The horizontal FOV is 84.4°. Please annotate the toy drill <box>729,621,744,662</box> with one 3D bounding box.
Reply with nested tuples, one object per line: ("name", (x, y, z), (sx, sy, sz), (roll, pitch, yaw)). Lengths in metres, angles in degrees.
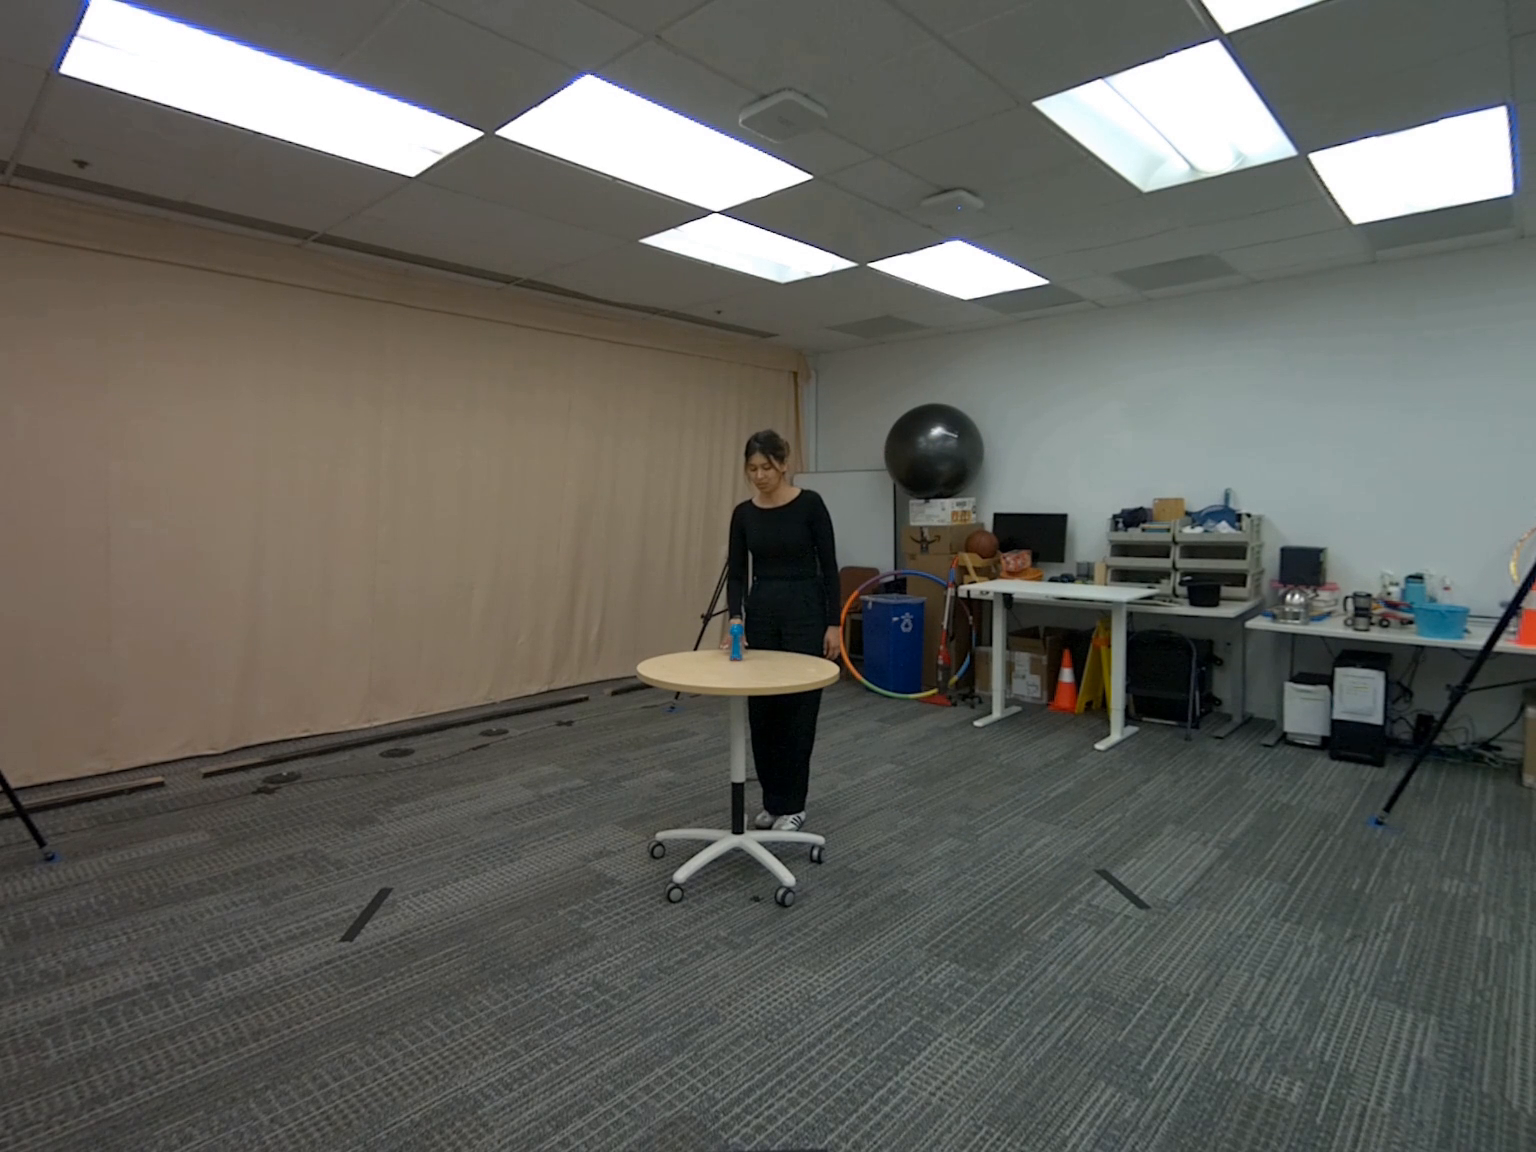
("toy drill", (-0.123, 0.257, 3.377), (0.061, 0.146, 0.170), (4, 1, -5))
